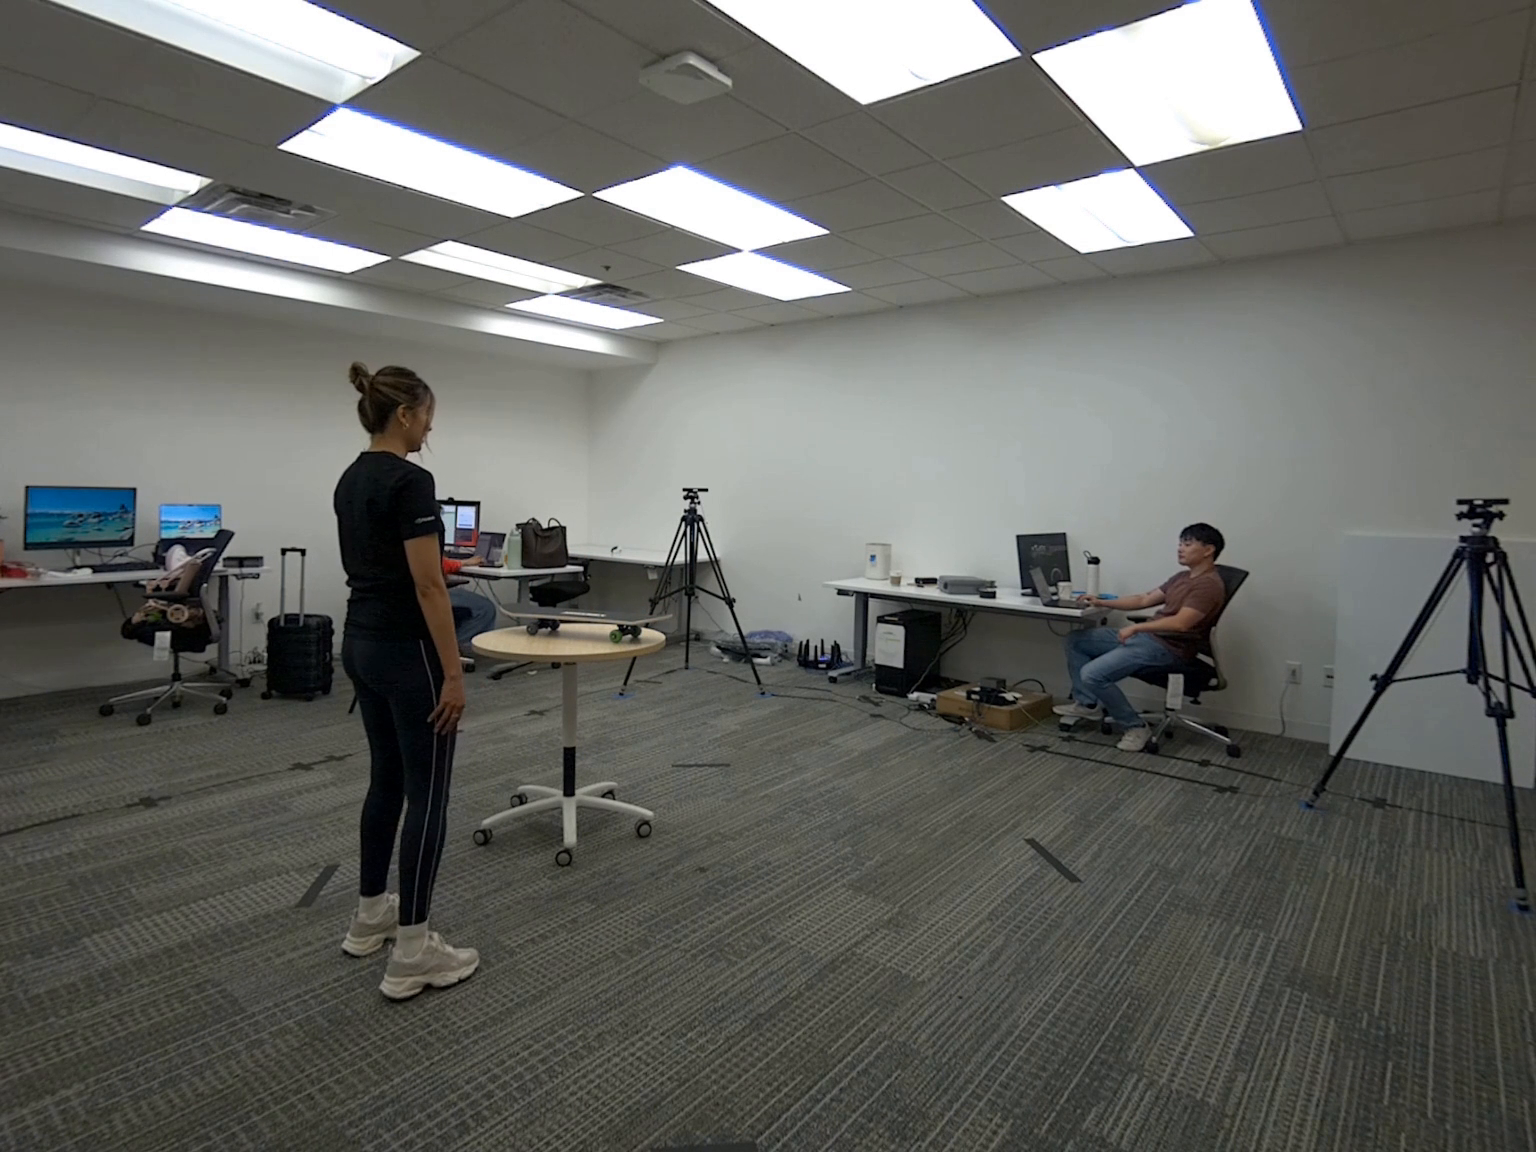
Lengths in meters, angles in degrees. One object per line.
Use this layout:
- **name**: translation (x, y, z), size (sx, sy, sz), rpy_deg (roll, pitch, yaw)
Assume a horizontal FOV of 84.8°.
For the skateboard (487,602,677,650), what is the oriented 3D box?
- **skateboard**: translation (-0.773, 0.196, 3.446), size (0.805, 0.110, 0.189), rpy_deg (3, 5, 23)
